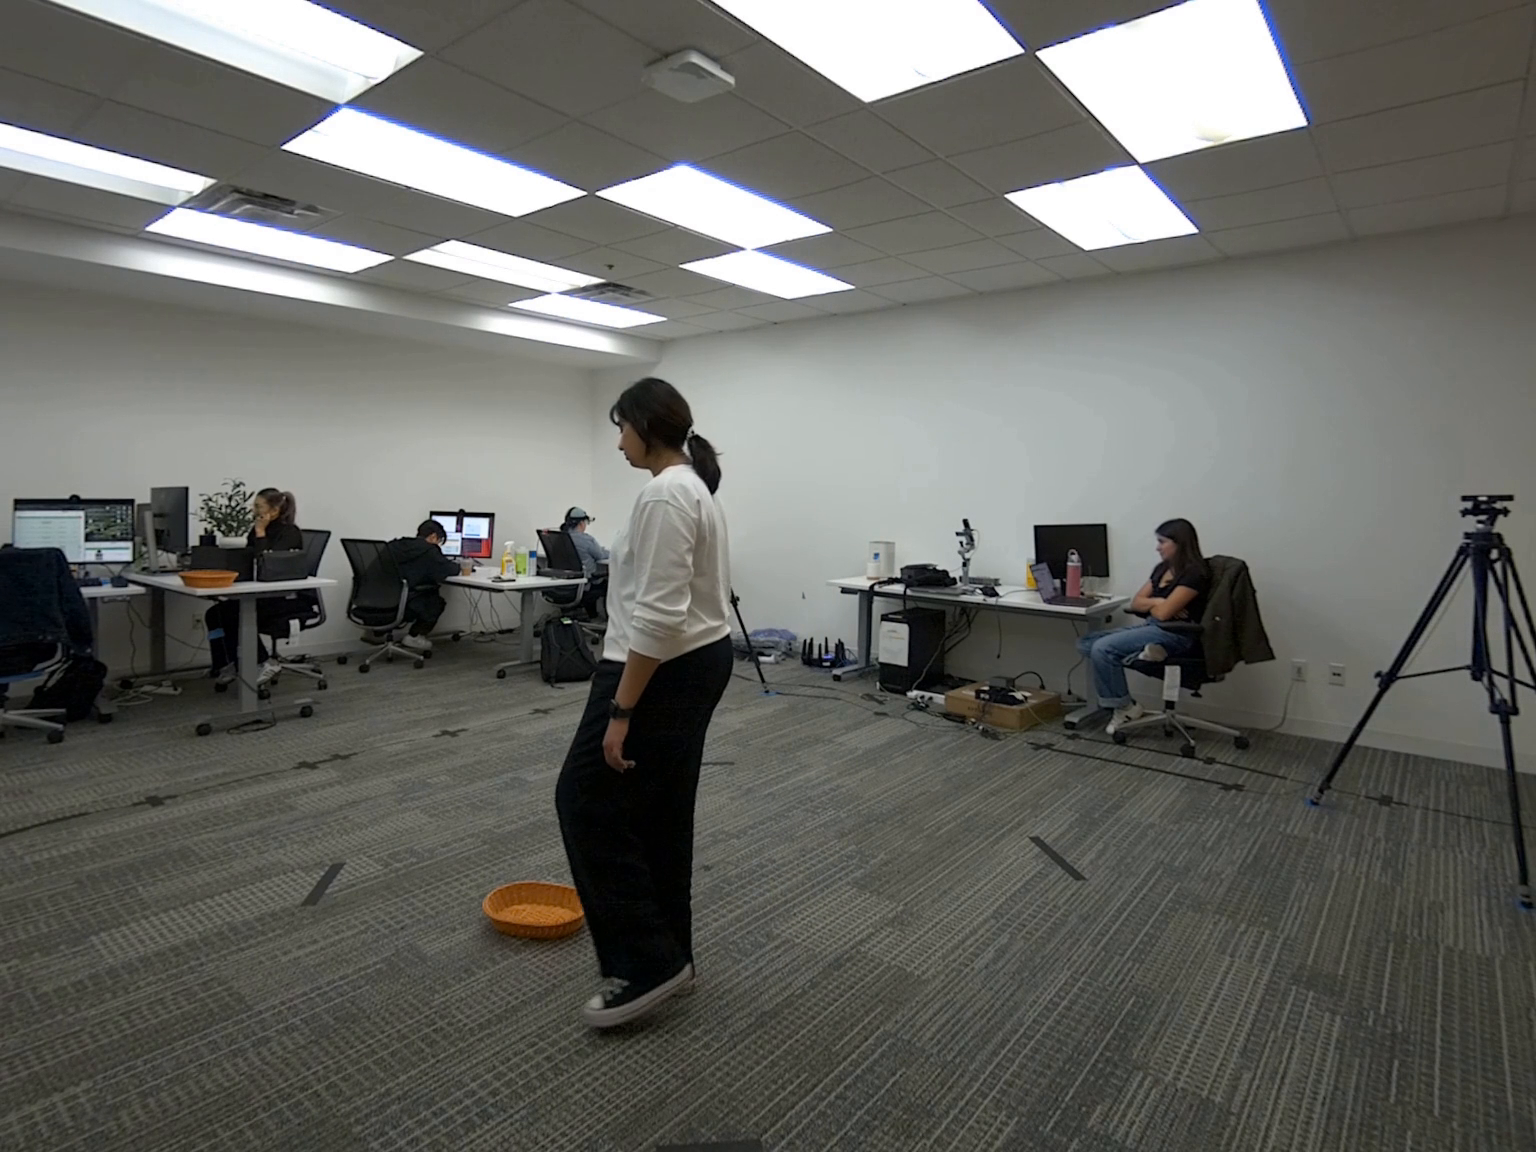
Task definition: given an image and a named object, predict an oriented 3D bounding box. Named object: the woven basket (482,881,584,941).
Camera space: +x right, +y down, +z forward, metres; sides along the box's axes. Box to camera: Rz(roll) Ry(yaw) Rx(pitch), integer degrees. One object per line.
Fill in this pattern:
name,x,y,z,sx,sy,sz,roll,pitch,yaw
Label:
woven basket,-0.736,1.062,2.695,0.357,0.073,0.249,3,7,16
